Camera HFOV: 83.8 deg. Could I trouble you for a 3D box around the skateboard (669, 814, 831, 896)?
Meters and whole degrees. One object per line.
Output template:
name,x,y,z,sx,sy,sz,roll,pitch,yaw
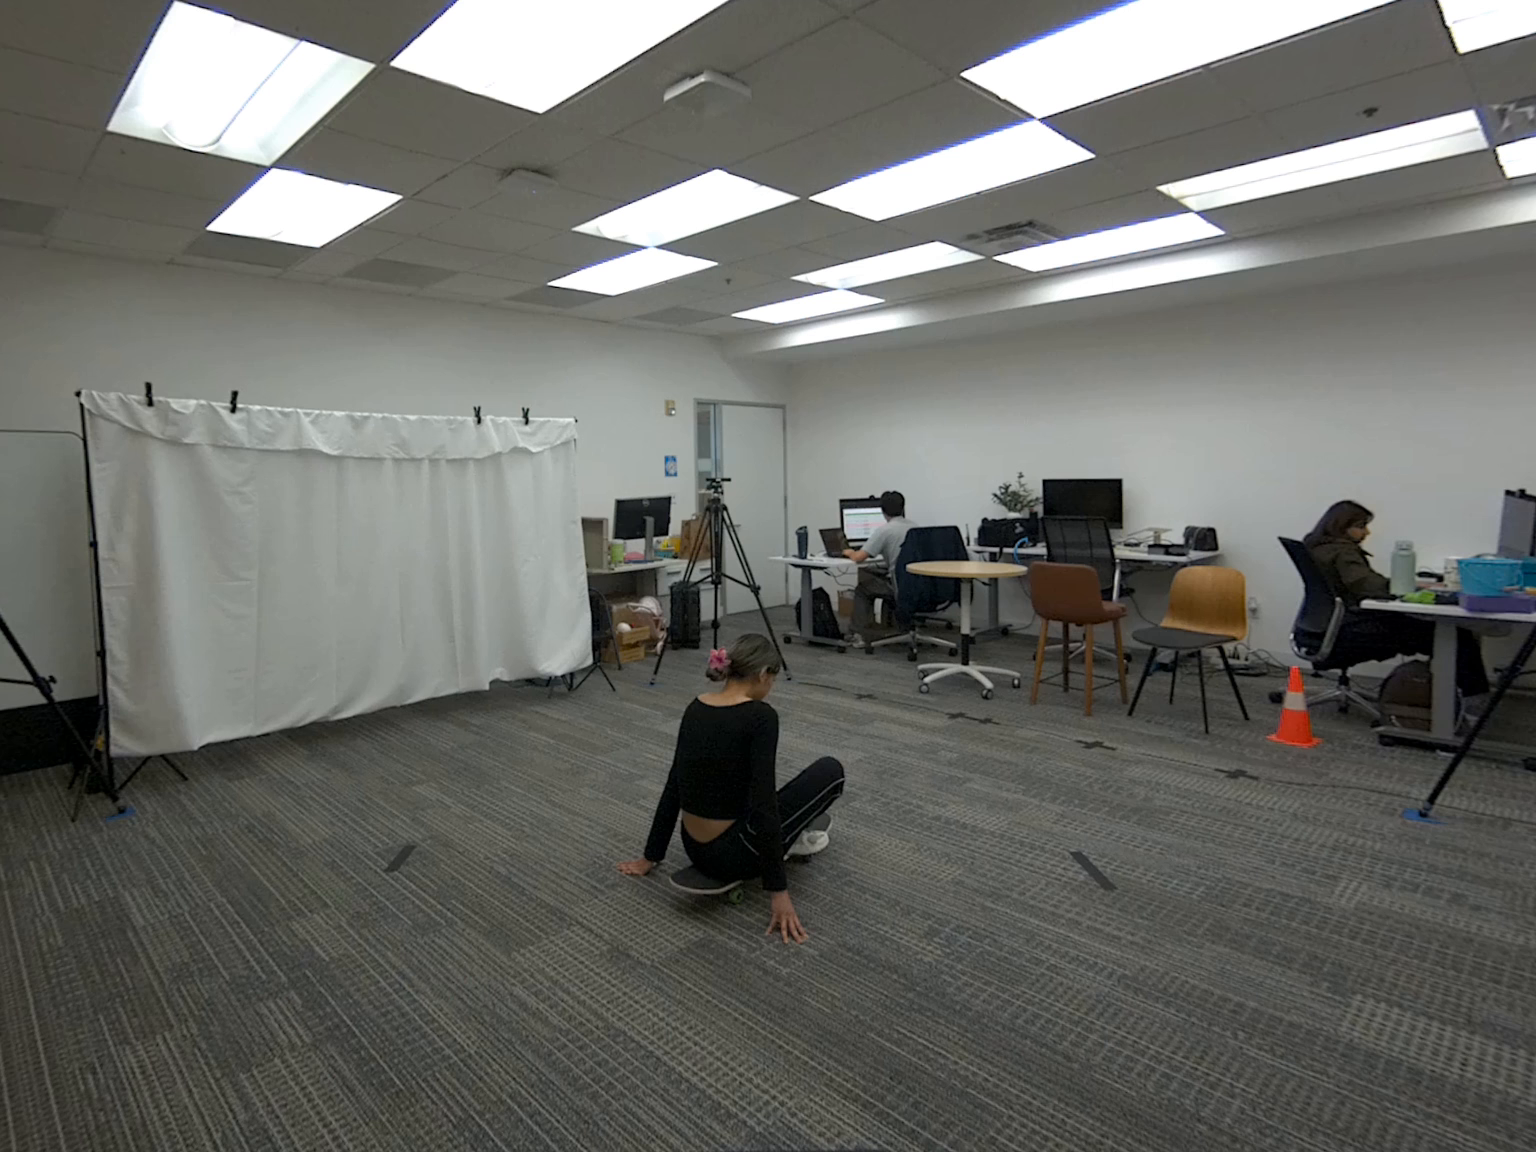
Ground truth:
skateboard,-0.046,0.992,3.019,0.199,0.109,0.767,4,10,37
